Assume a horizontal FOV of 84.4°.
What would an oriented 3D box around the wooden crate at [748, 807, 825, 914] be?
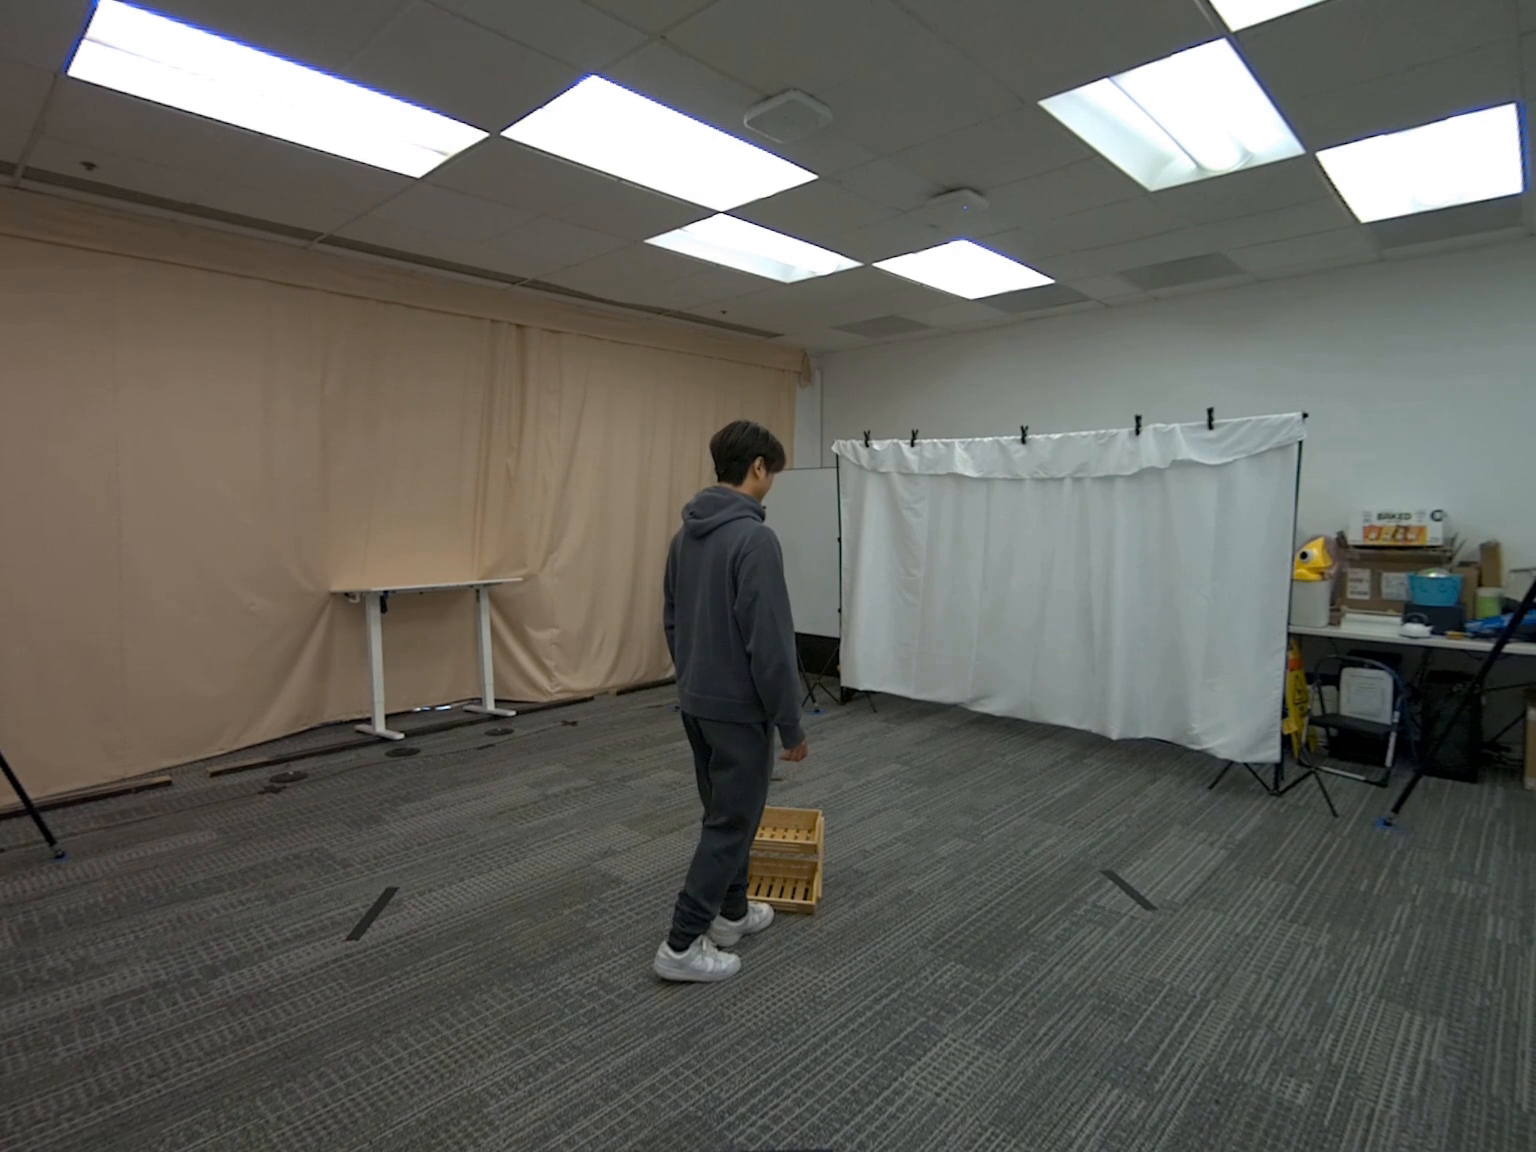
[{"bbox_3d":[0.036,1.010,3.010,0.328,0.273,0.299,1,4,10],"label":"wooden crate"}]
